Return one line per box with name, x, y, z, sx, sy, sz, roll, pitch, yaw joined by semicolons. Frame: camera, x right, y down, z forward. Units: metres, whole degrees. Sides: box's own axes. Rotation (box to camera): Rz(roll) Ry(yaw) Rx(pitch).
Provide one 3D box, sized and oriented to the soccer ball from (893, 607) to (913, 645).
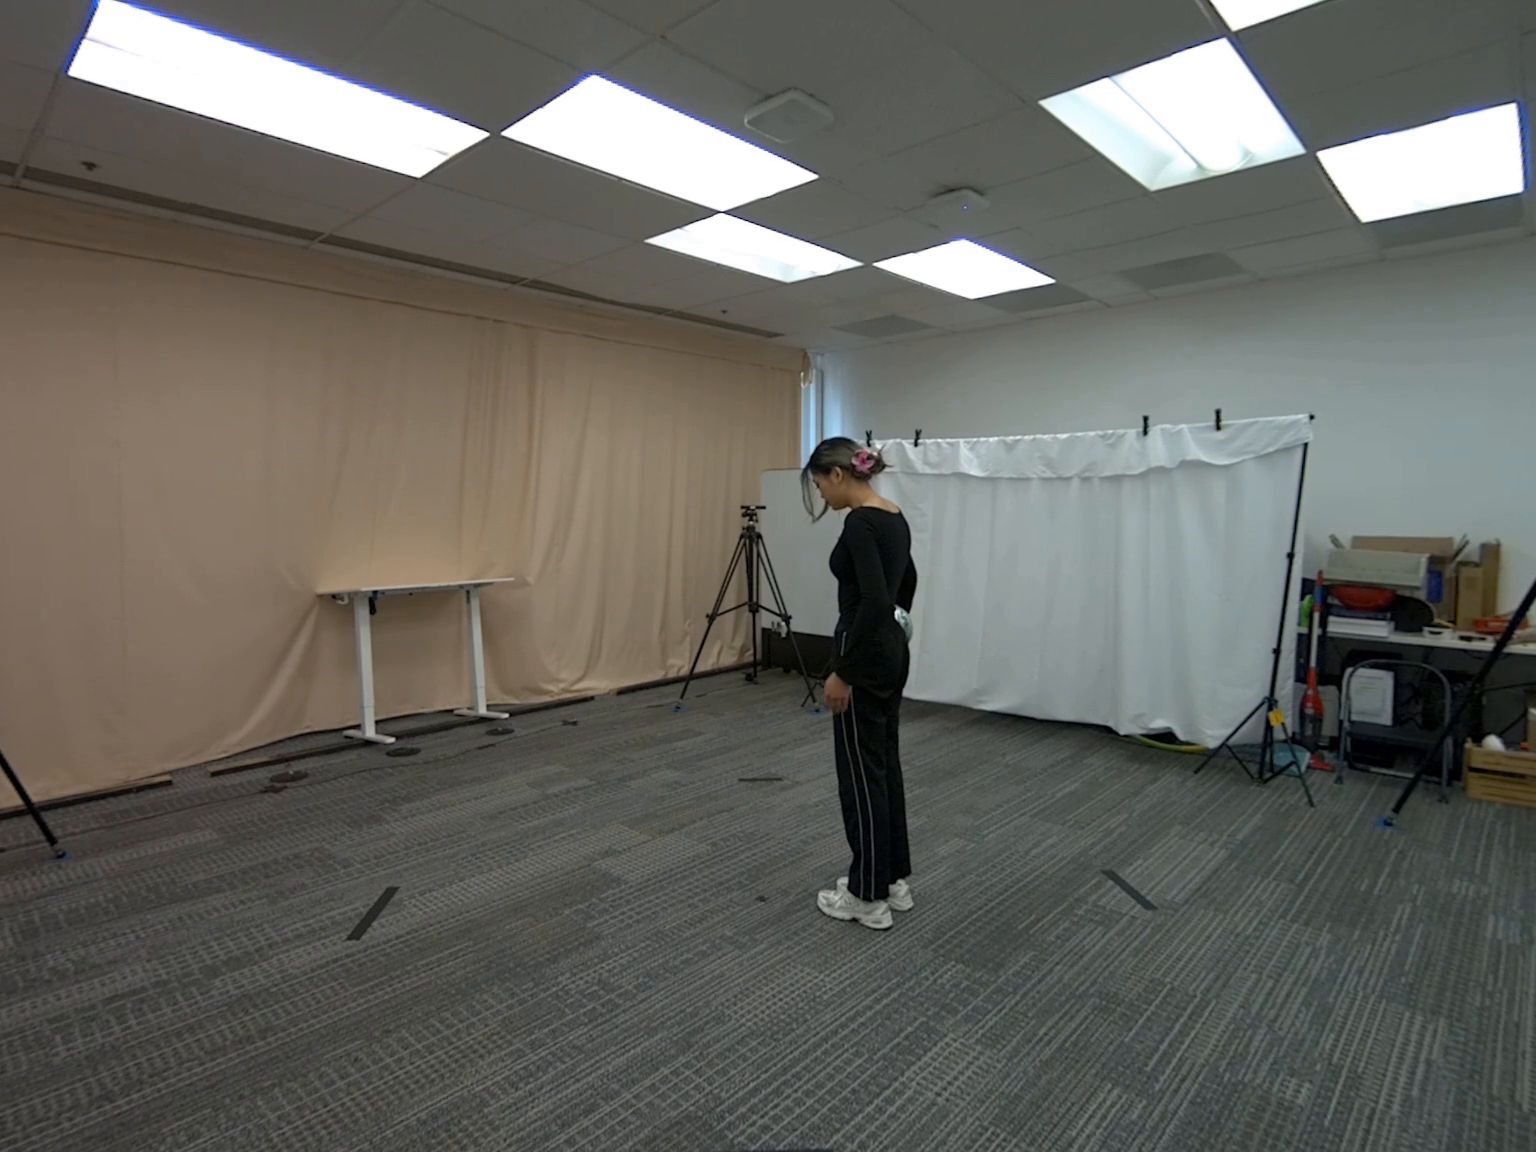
soccer ball;0.443;0.195;3.096;0.187;0.187;0.188;0;4;-2
